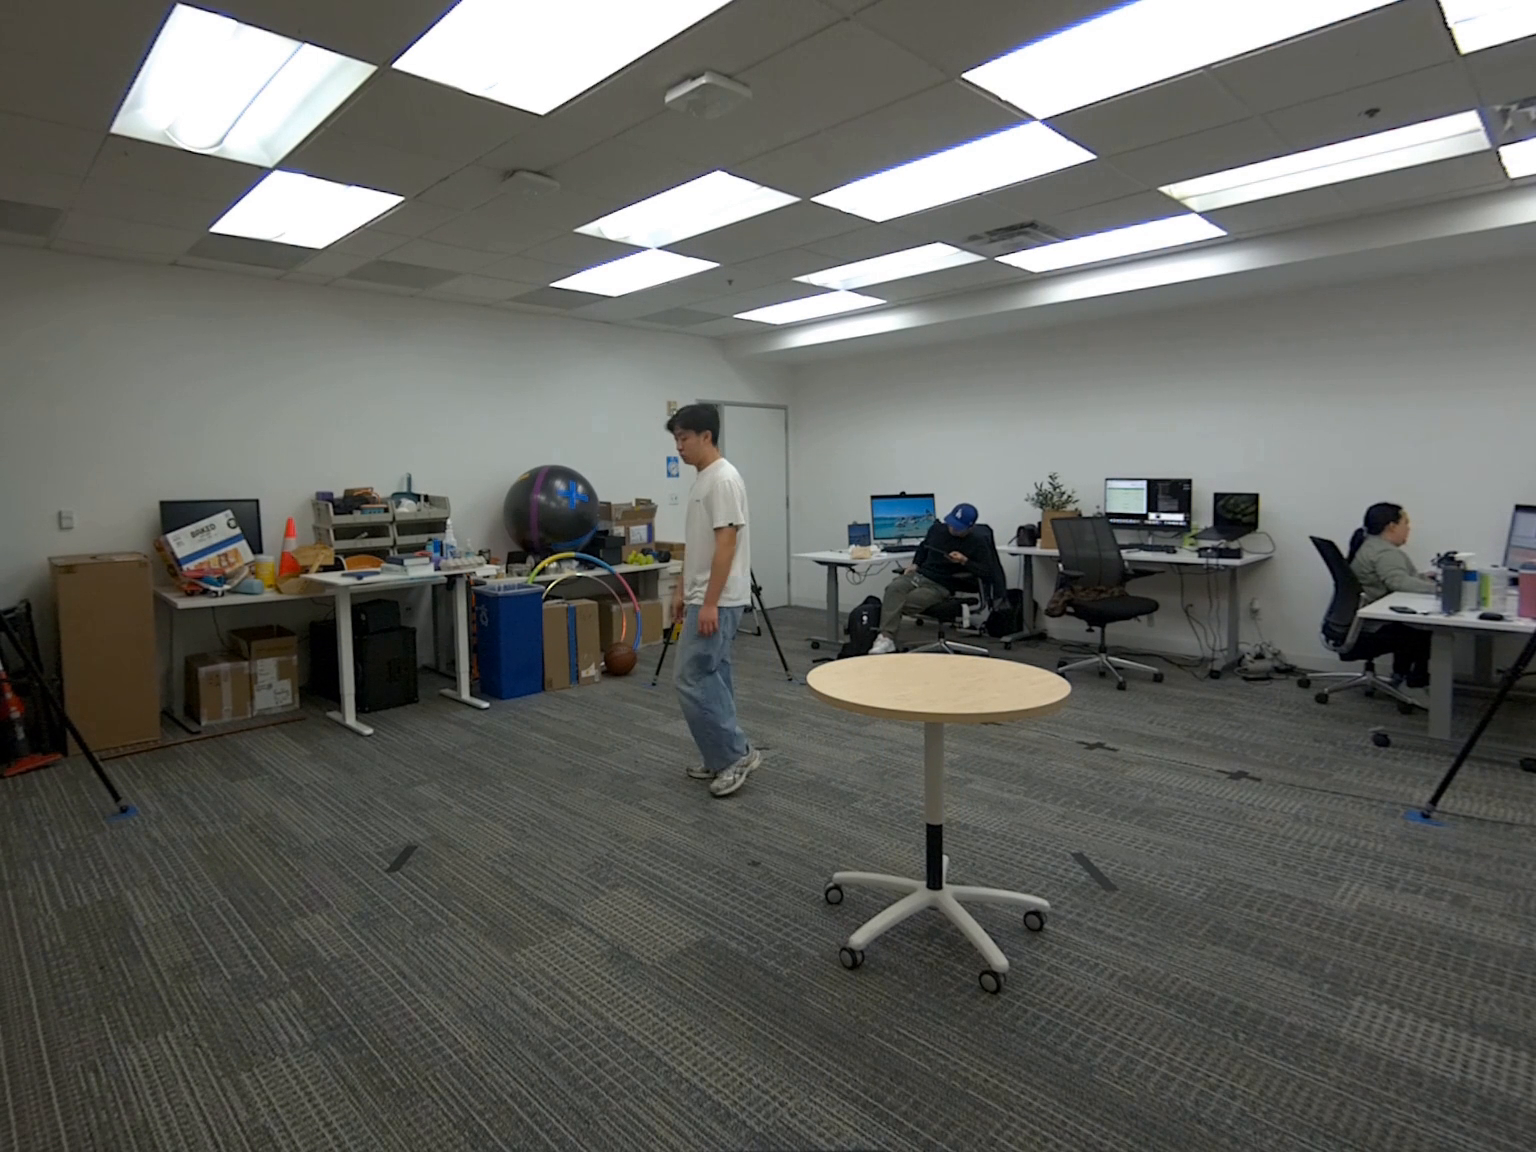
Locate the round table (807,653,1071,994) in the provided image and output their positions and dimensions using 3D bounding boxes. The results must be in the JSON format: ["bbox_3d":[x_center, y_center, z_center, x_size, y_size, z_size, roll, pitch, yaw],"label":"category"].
[{"bbox_3d":[0.511,0.706,2.603,0.763,0.791,0.768,-1,5,-2],"label":"round table"}]
